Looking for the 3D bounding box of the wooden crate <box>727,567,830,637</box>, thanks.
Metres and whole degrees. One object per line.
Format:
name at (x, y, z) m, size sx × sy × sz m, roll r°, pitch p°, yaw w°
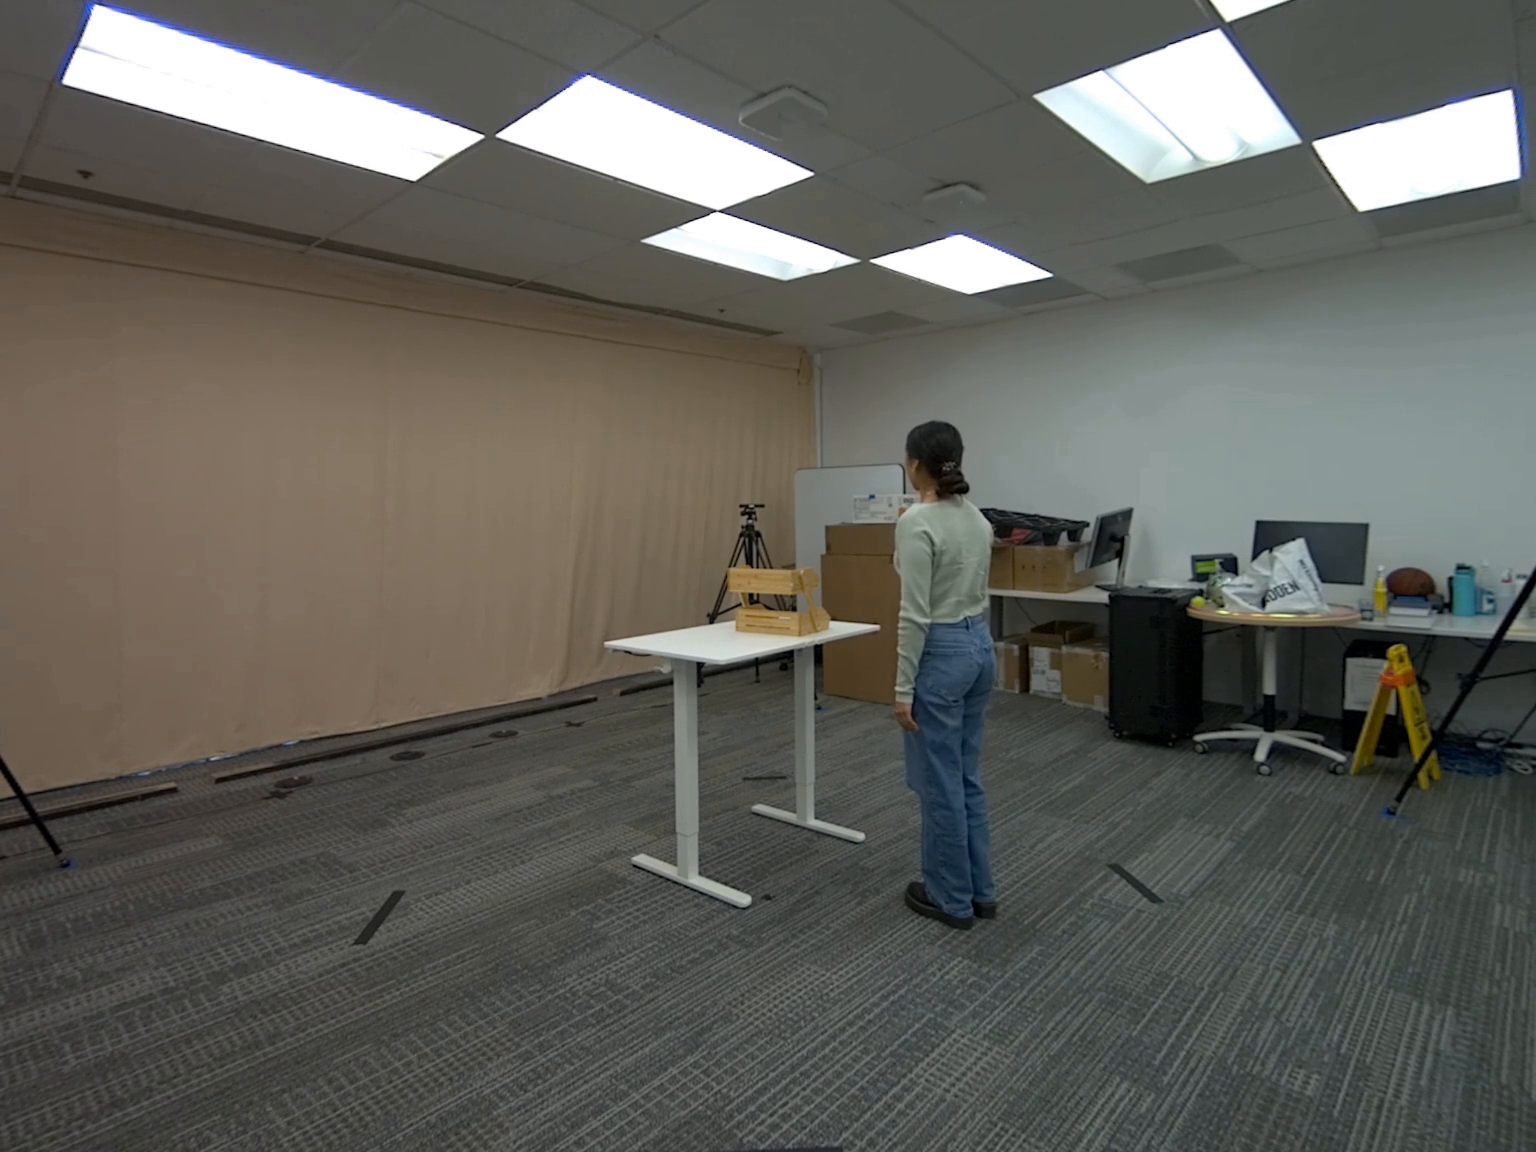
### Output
wooden crate at (0.050, 0.090, 3.403) m, size 0.334 × 0.273 × 0.294 m, roll 1°, pitch 4°, yaw 33°
